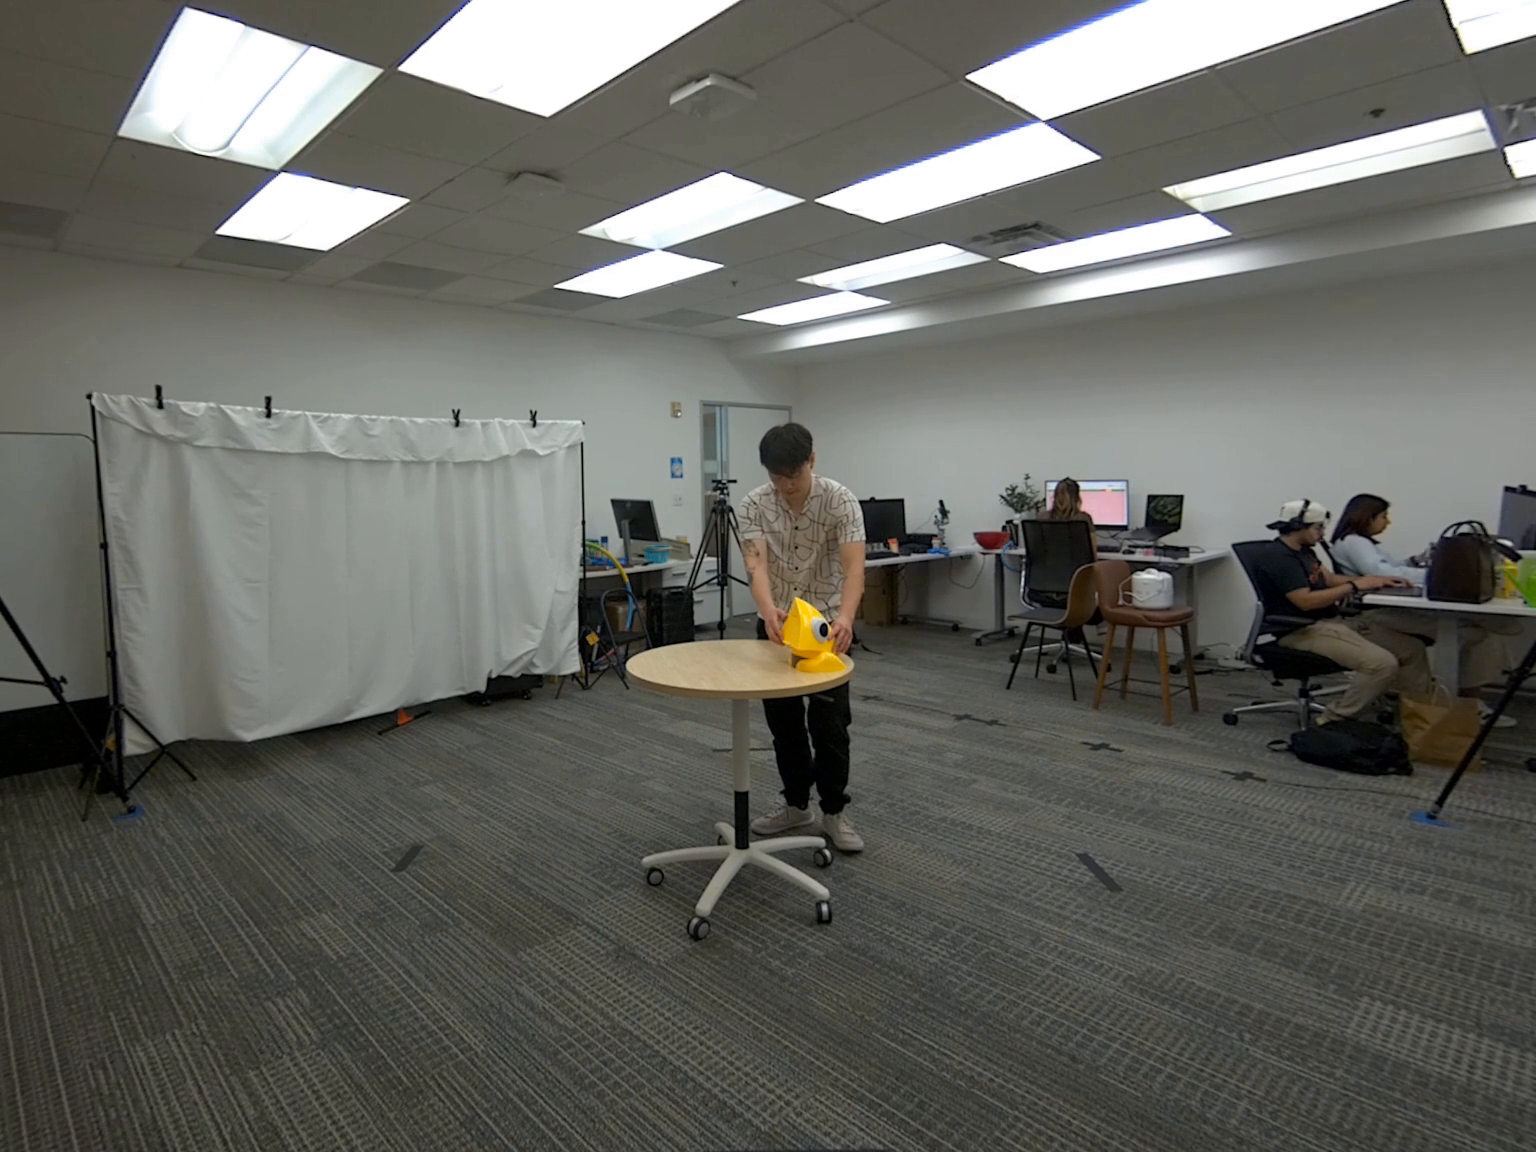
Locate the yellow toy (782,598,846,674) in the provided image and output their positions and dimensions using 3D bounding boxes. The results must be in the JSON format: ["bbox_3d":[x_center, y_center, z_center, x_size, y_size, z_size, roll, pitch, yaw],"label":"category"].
[{"bbox_3d":[0.148,0.183,2.811,0.190,0.229,0.209,-2,6,-16],"label":"yellow toy"}]
